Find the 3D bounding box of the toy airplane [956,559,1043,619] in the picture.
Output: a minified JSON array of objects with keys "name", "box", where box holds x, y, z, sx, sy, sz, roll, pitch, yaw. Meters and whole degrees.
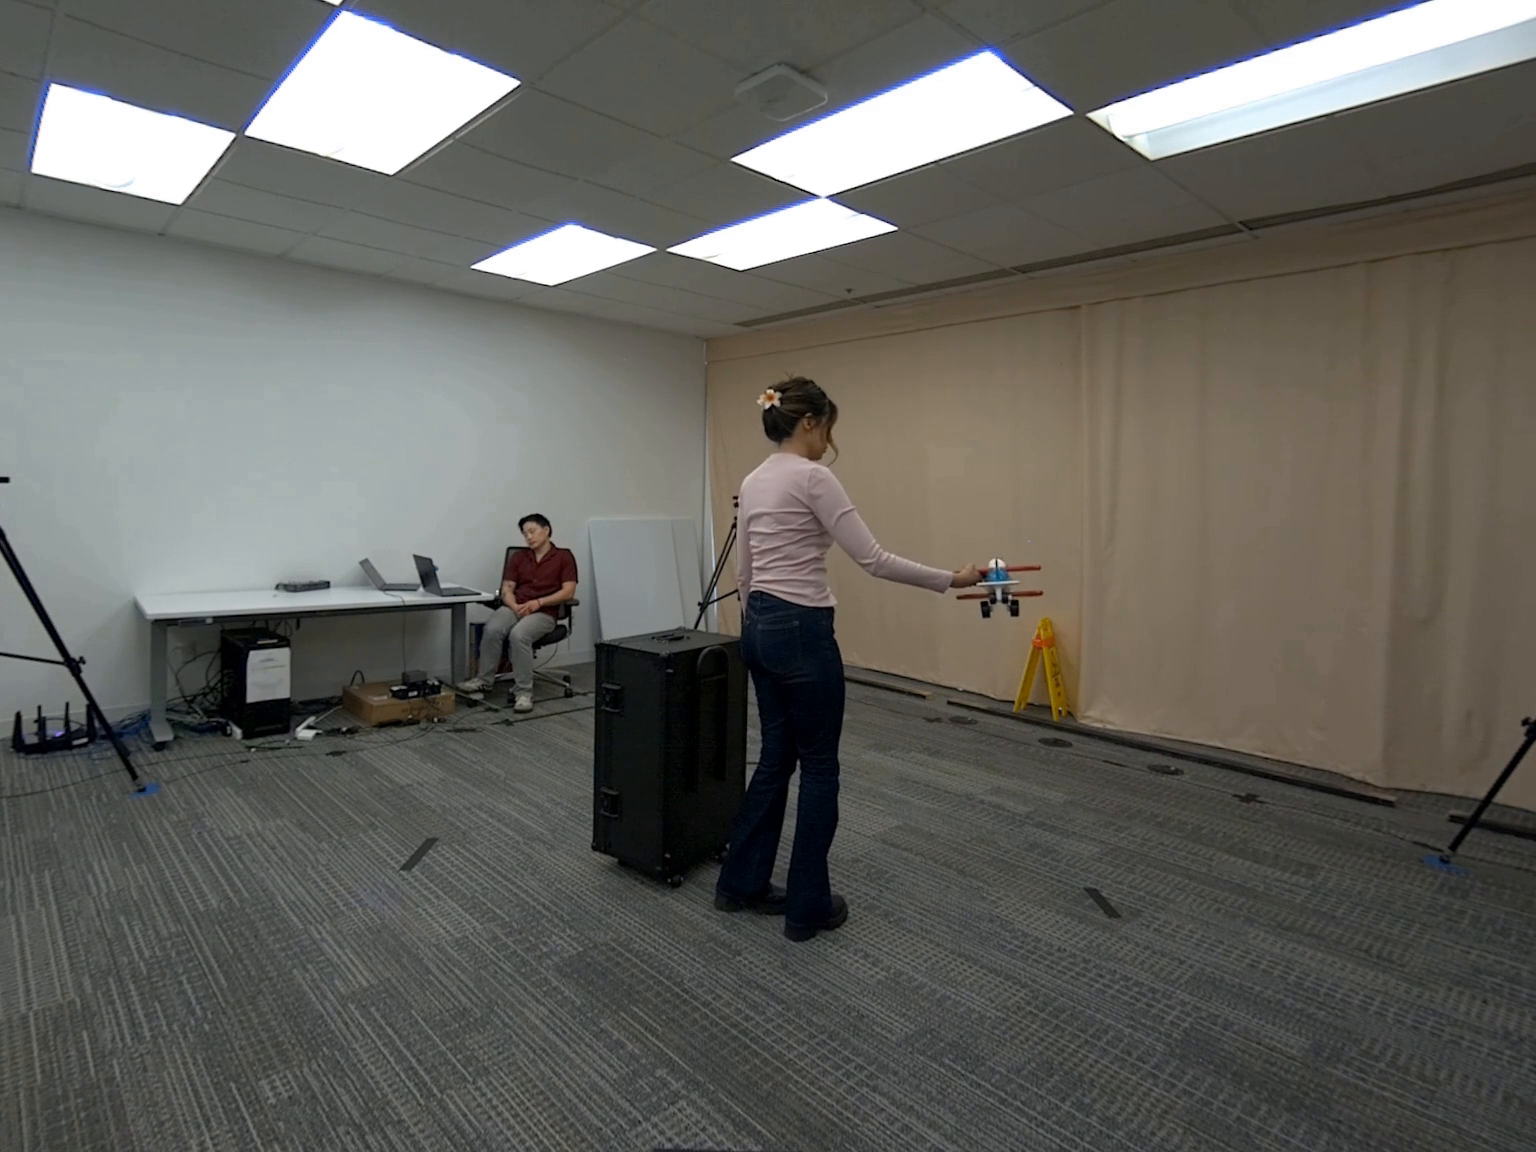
[{"name":"toy airplane","box":[0.714,0.031,2.540,0.249,0.158,0.258,4,-18,-11]}]
